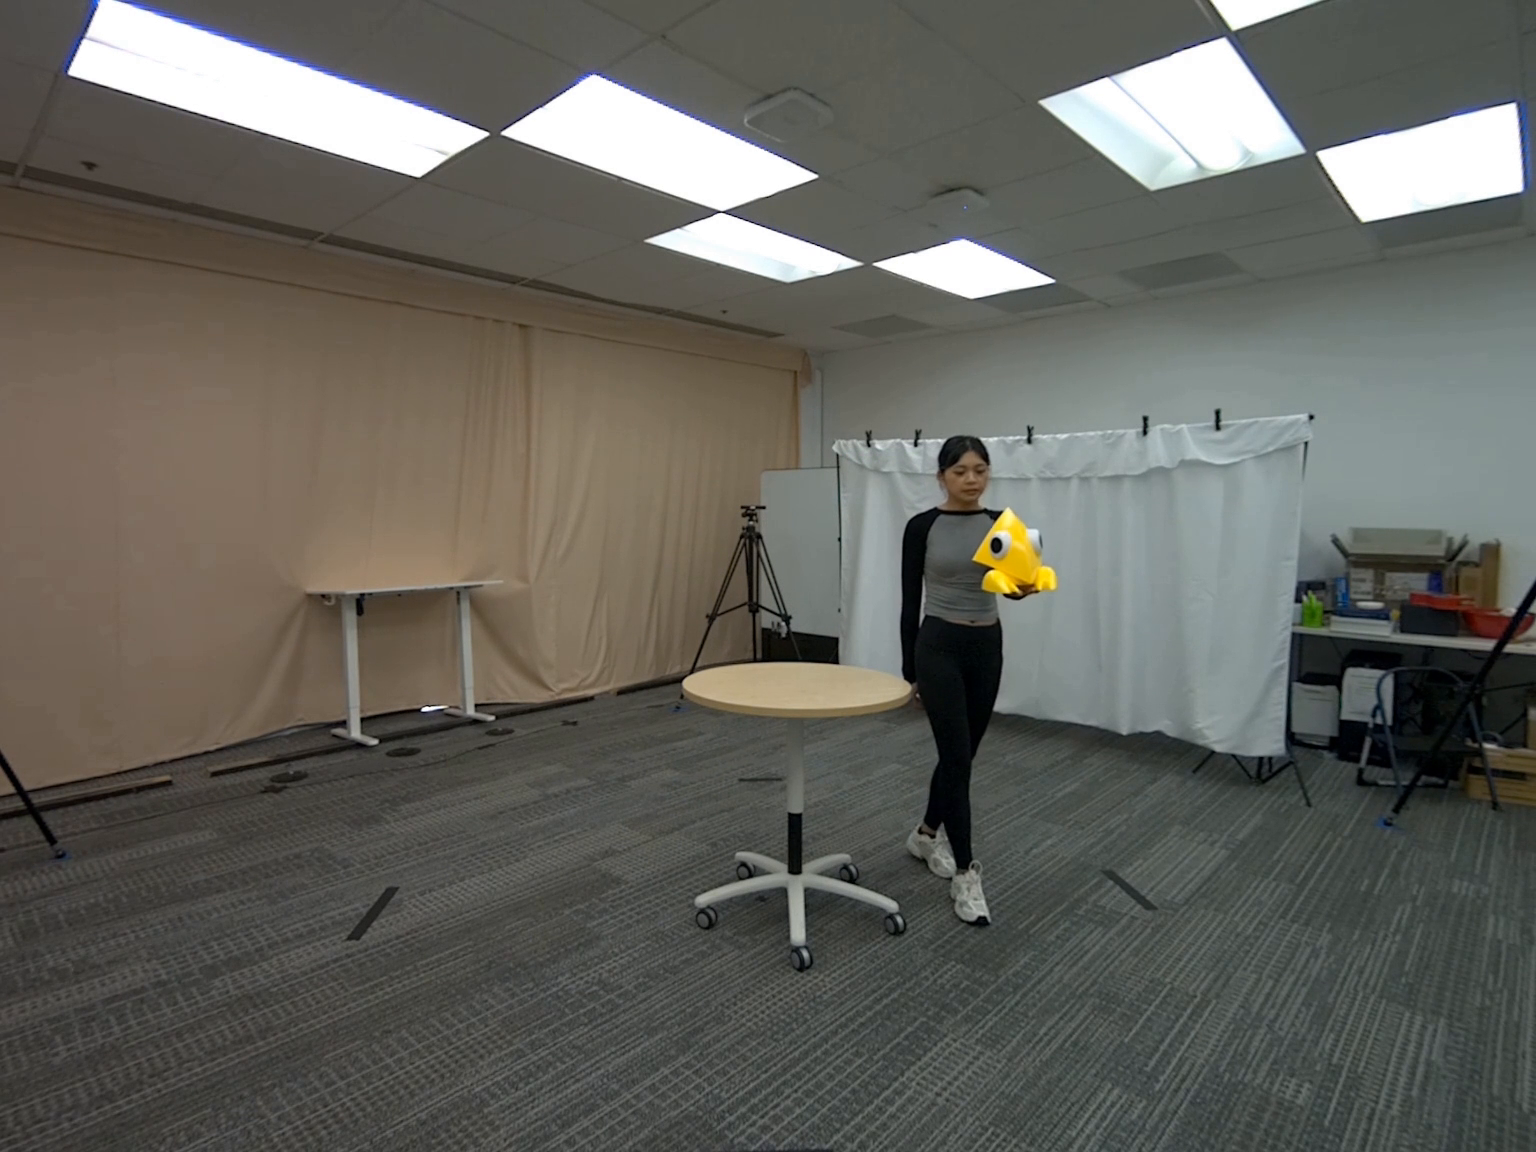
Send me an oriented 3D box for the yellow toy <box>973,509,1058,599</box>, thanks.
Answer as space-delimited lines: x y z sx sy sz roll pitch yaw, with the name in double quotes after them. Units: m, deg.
0.728 -0.080 2.442 0.204 0.230 0.194 -3 6 -3 "yellow toy"
